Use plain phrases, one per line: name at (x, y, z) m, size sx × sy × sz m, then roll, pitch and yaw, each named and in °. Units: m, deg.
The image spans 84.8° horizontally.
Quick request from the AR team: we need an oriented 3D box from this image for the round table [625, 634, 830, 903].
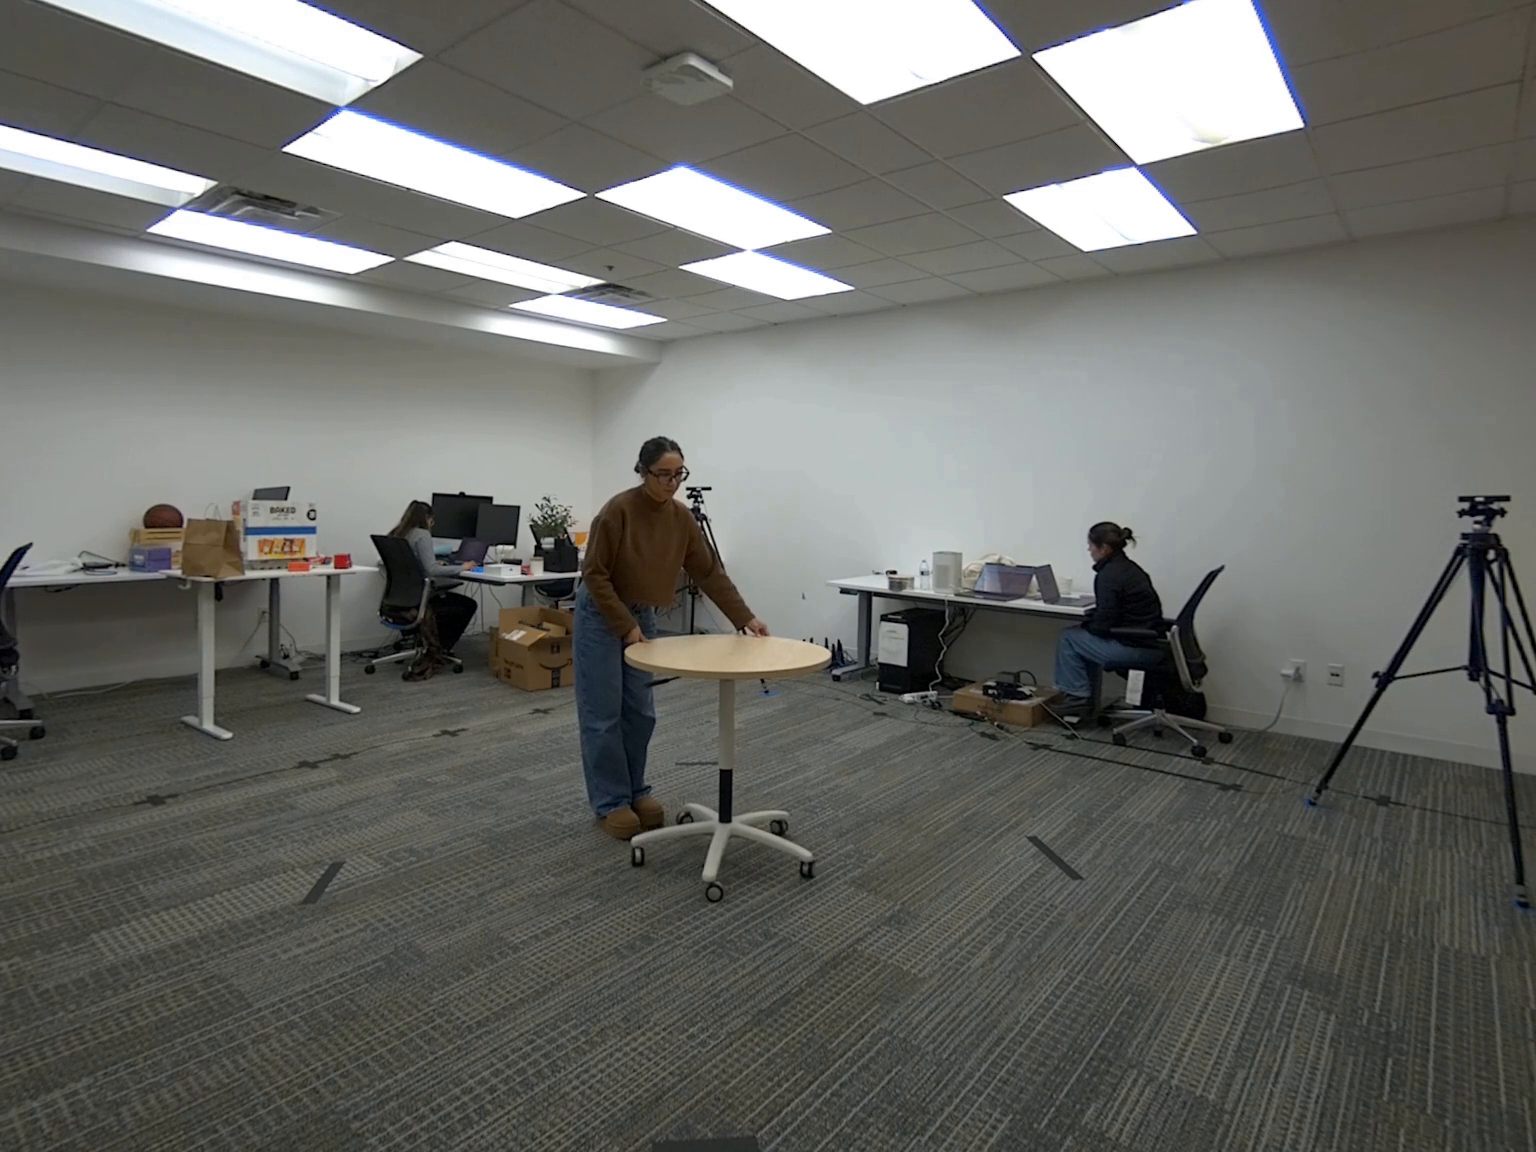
round table at (-0.157, 0.670, 3.182) m, size 0.763 × 0.792 × 0.767 m, roll 1°, pitch 3°, yaw -2°
